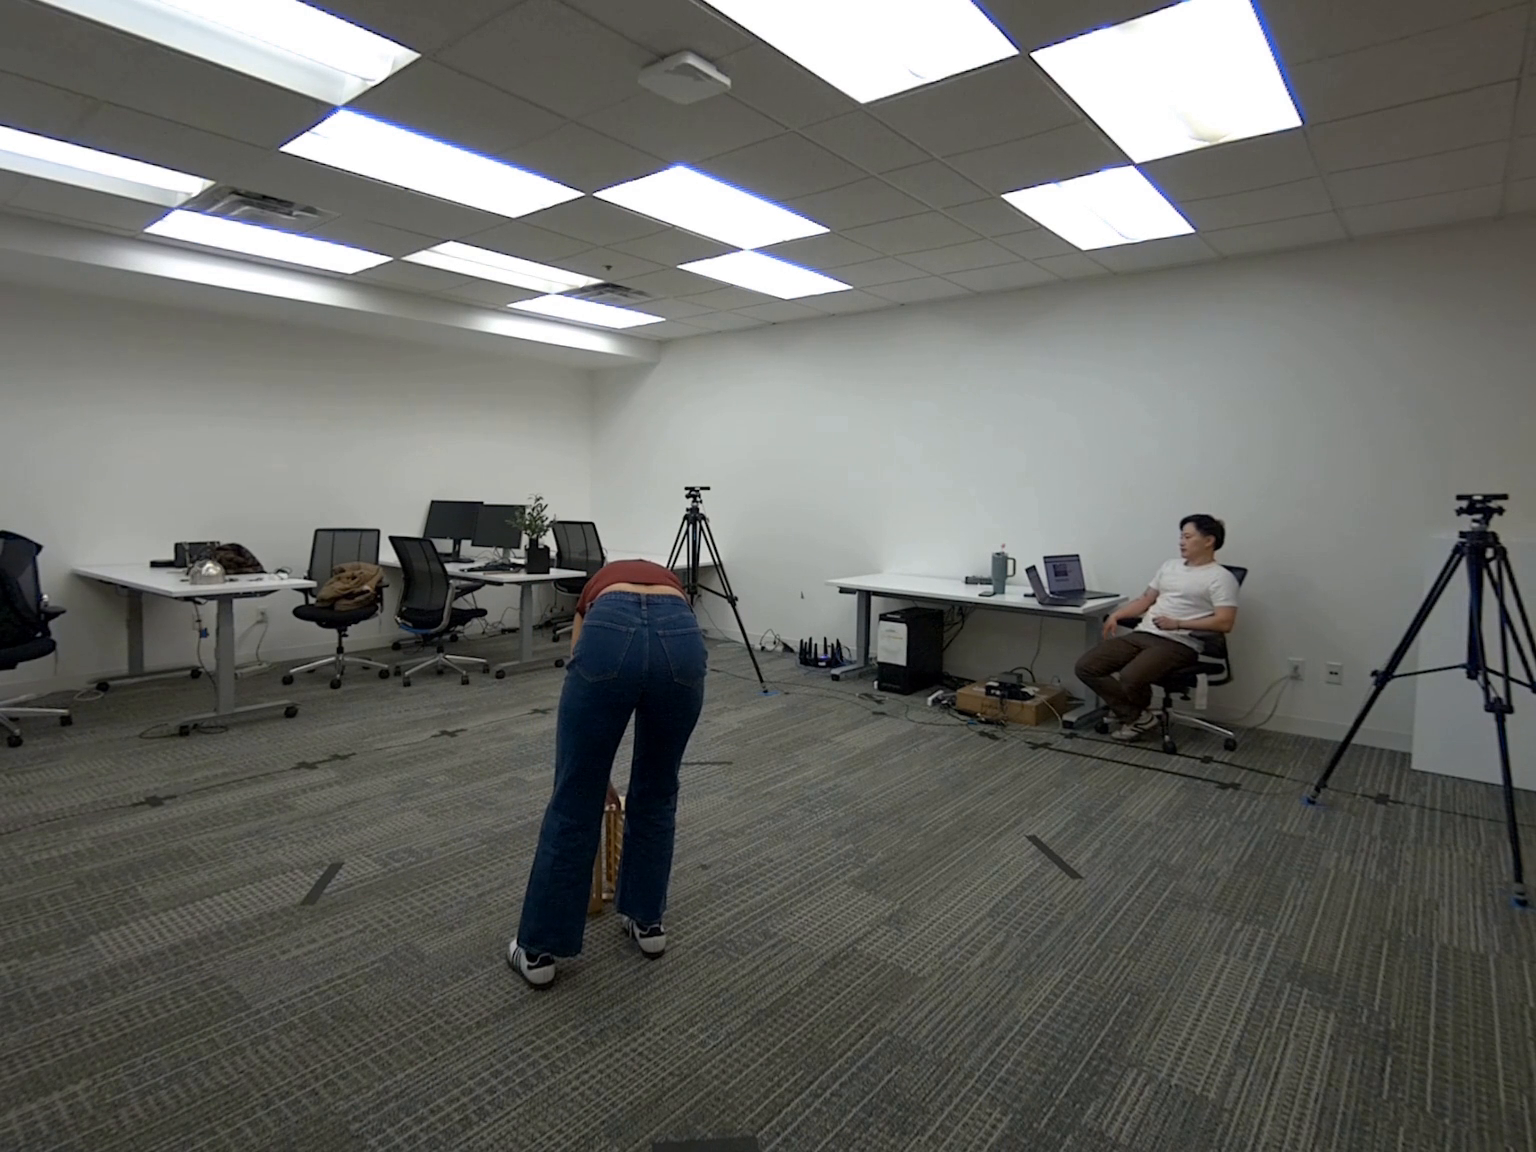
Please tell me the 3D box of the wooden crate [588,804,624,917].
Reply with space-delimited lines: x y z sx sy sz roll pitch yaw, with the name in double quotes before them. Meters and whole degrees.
"wooden crate" -0.565 0.913 2.856 0.266 0.322 0.313 -5 11 -32
